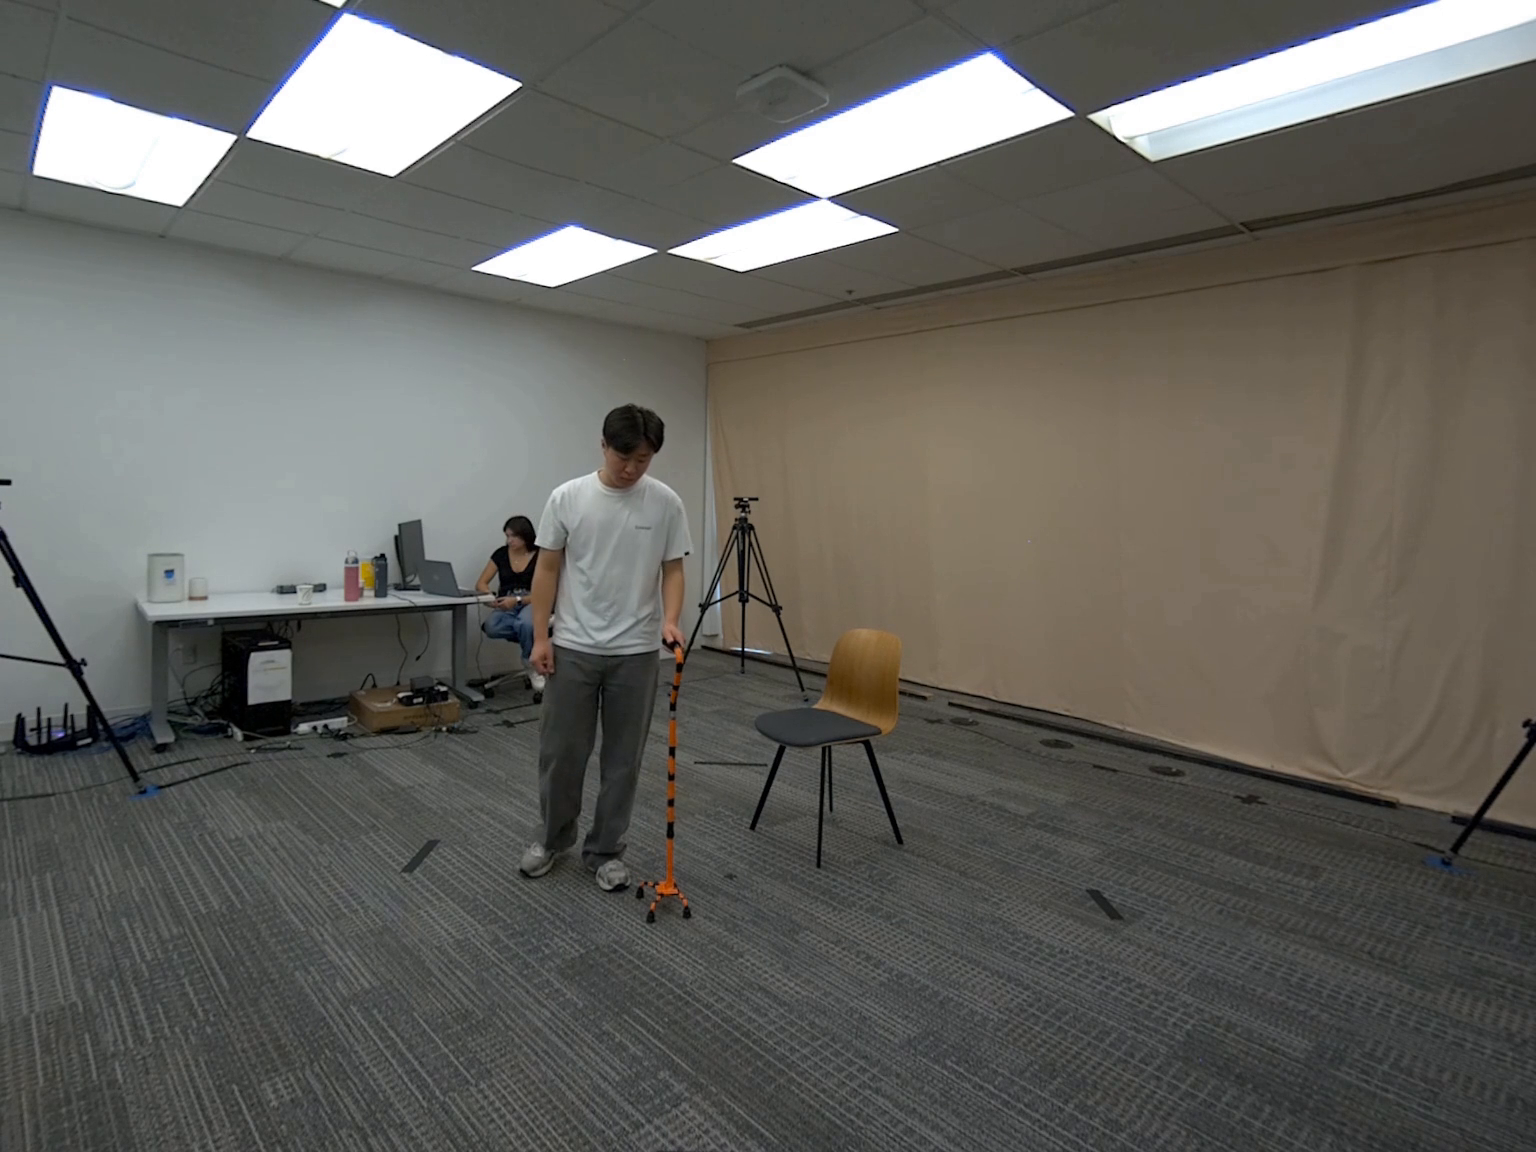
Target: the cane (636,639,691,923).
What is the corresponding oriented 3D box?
[{"bbox_3d":[-0.344,0.679,2.833,0.149,0.906,0.210,2,2,-19],"label":"cane"}]
